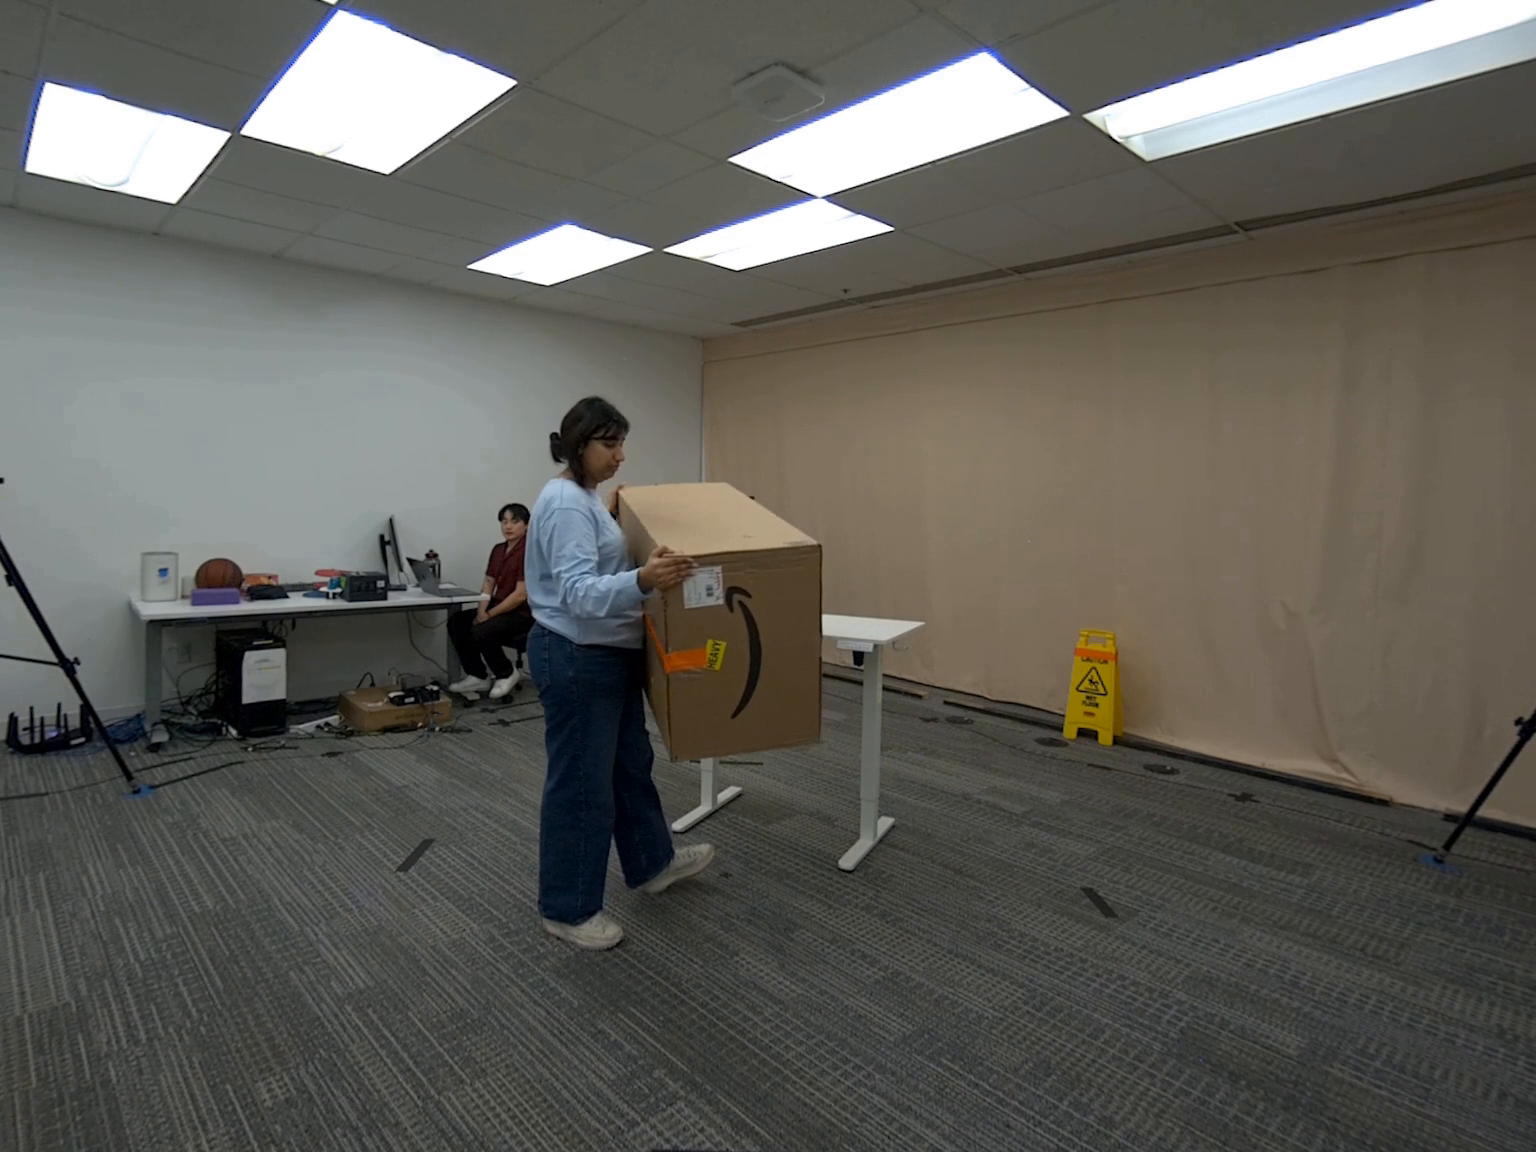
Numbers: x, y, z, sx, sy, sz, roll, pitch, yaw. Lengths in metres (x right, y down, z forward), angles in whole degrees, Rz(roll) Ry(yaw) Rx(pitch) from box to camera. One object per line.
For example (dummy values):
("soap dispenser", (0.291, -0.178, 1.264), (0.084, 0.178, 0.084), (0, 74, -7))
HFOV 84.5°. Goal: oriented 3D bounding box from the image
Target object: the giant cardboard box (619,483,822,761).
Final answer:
("giant cardboard box", (-0.210, 0.074, 2.703), (0.422, 0.571, 1.048), (-4, 16, -15))
